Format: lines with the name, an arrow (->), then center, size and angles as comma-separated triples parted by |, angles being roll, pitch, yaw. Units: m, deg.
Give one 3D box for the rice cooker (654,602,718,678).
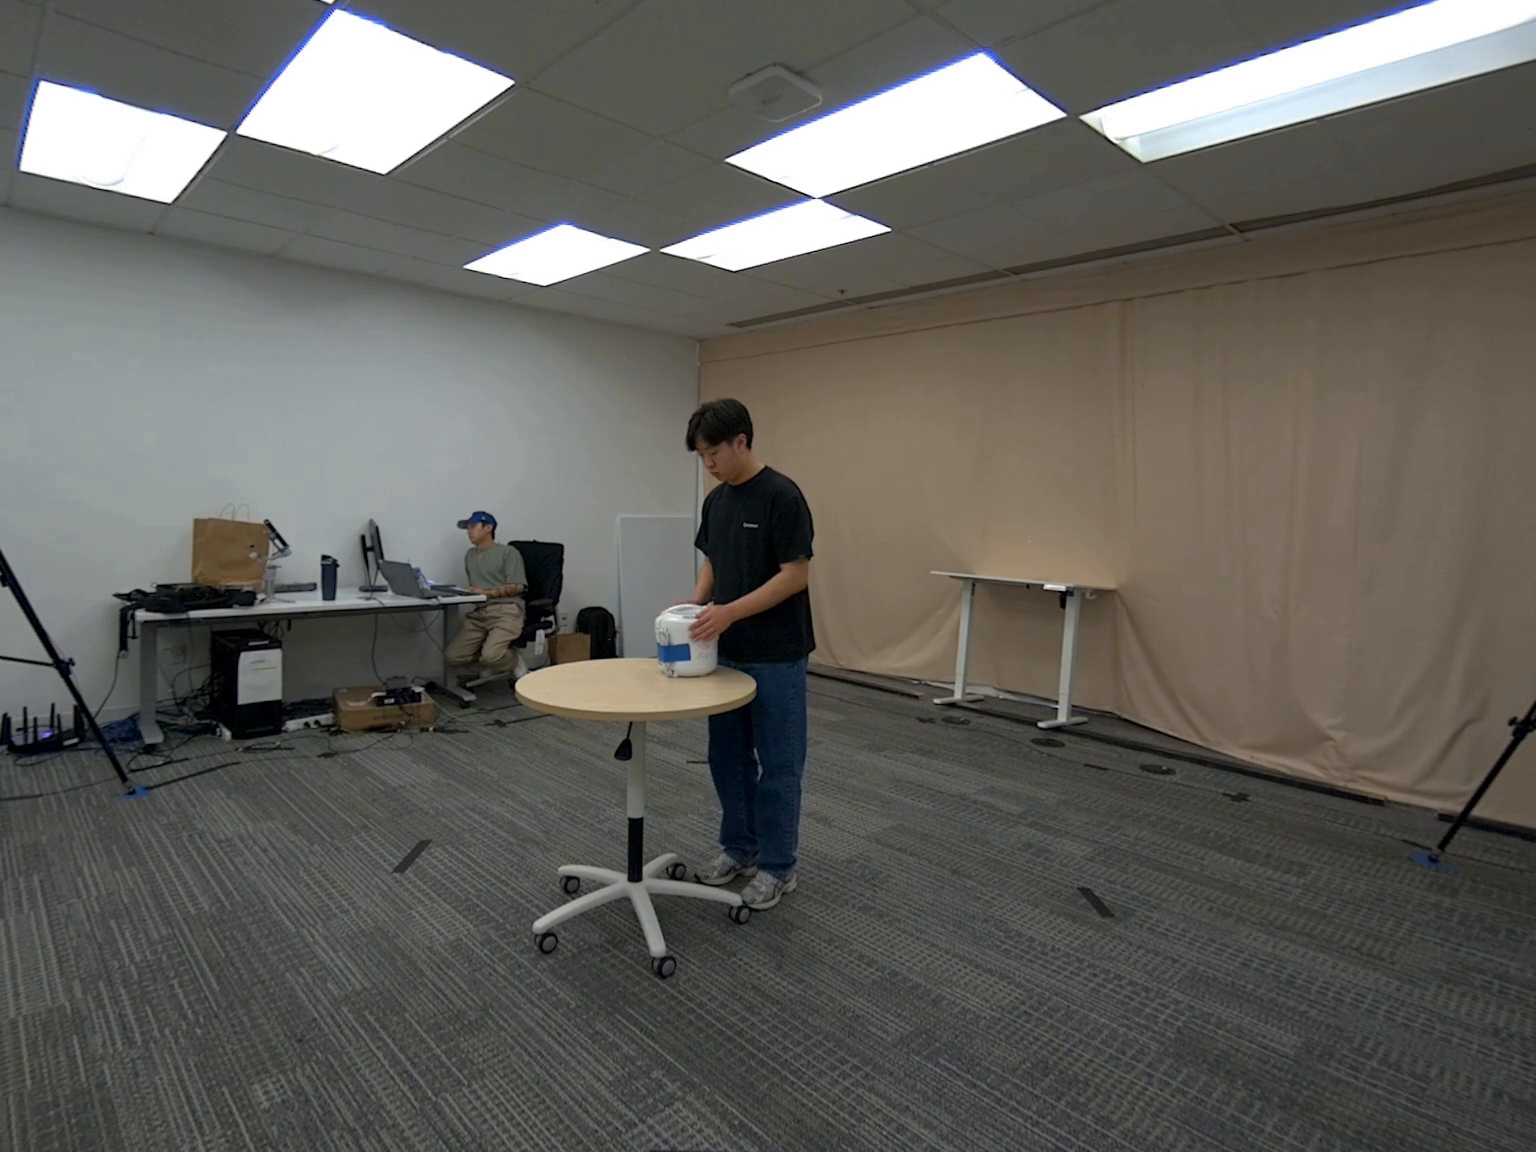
rice cooker -> -0.279, 0.213, 2.863 | 0.219, 0.232, 0.220 | 2, 4, -11
